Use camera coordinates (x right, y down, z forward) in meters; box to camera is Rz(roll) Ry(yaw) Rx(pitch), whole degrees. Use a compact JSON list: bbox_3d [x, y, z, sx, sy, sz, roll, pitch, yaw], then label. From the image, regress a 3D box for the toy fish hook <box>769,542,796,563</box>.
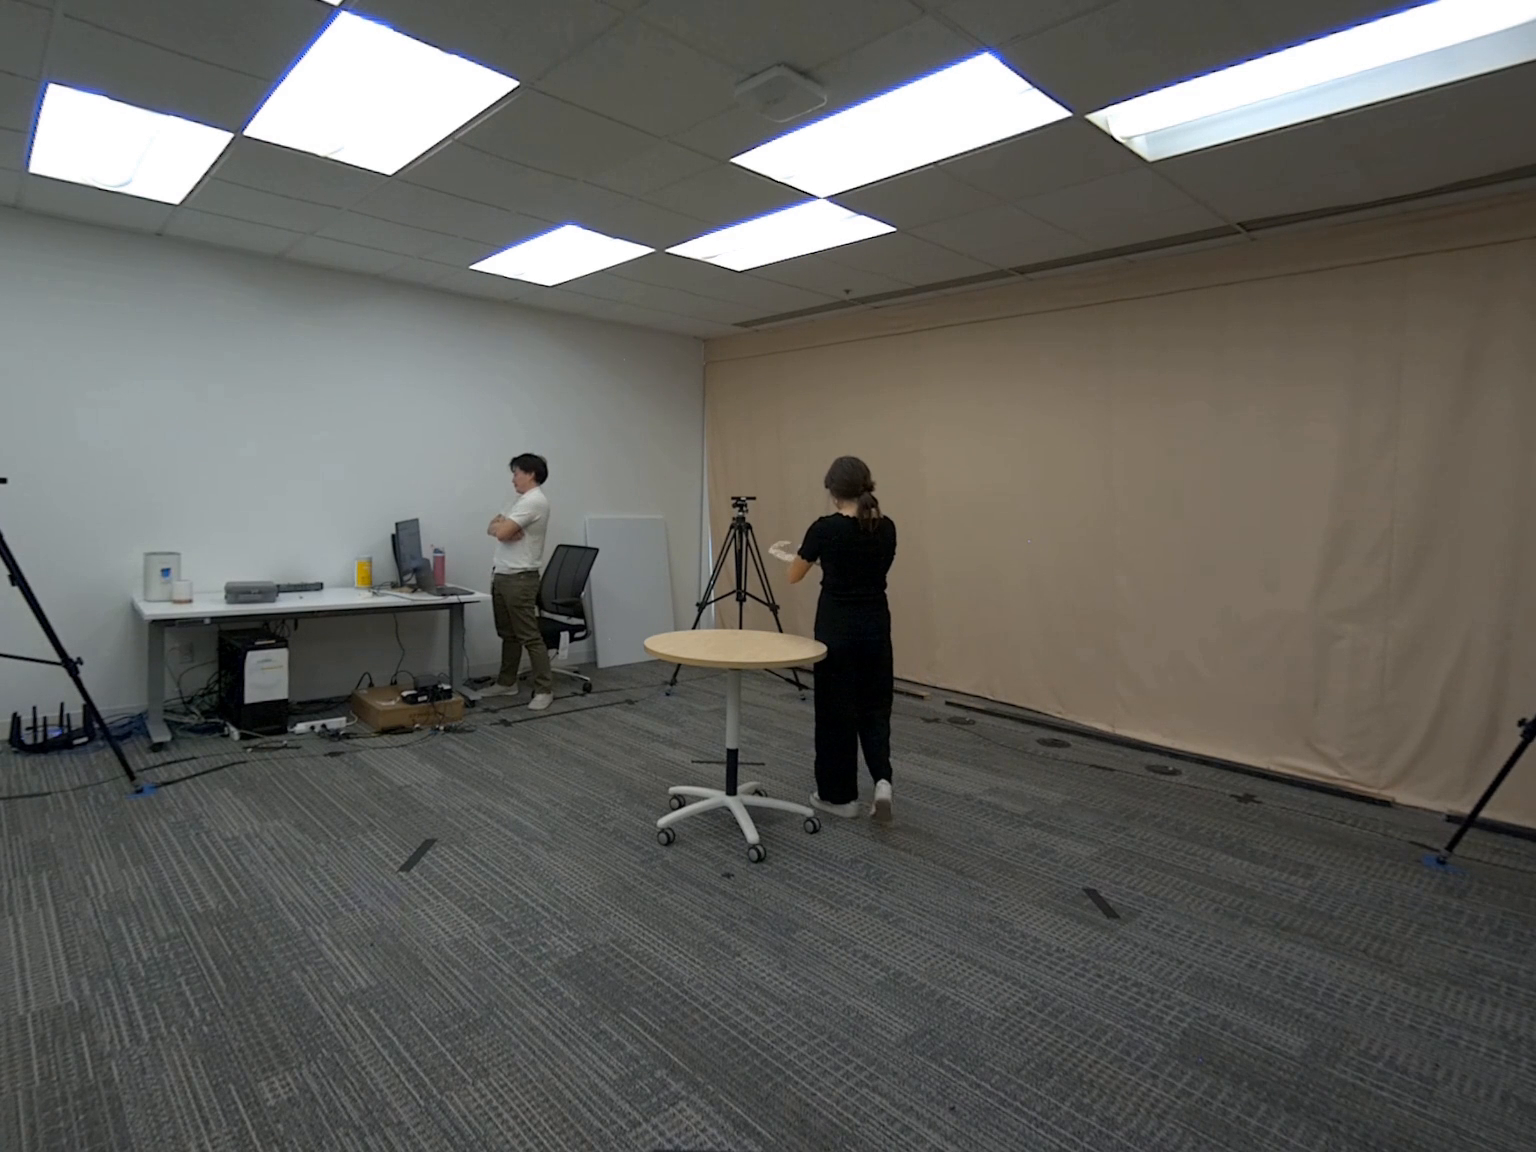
[{"bbox_3d":[0.216,-0.140,4.168,0.497,0.048,0.231,-13,39,-42],"label":"toy fish hook"}]
